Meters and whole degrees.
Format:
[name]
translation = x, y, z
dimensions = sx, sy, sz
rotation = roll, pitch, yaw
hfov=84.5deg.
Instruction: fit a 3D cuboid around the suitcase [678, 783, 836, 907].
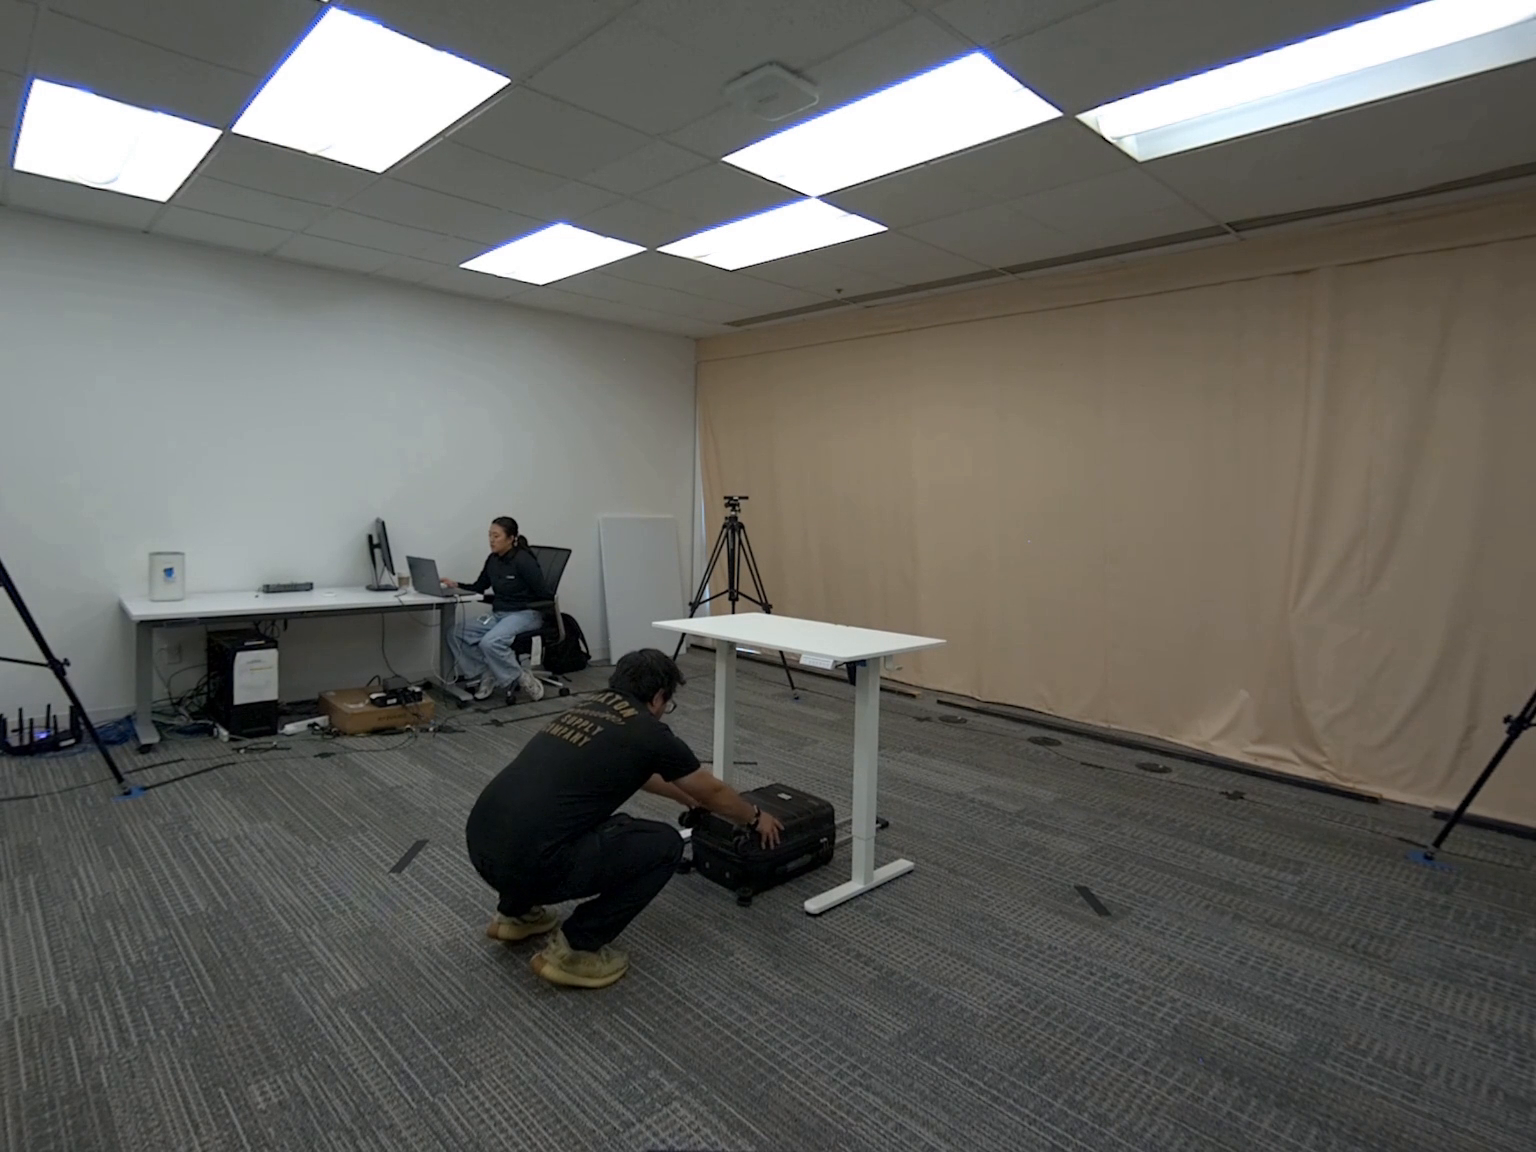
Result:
[suitcase]
translation = 0.114, 0.968, 3.317
dimensions = 0.394, 0.256, 0.957
rotation = 4, 6, 44
